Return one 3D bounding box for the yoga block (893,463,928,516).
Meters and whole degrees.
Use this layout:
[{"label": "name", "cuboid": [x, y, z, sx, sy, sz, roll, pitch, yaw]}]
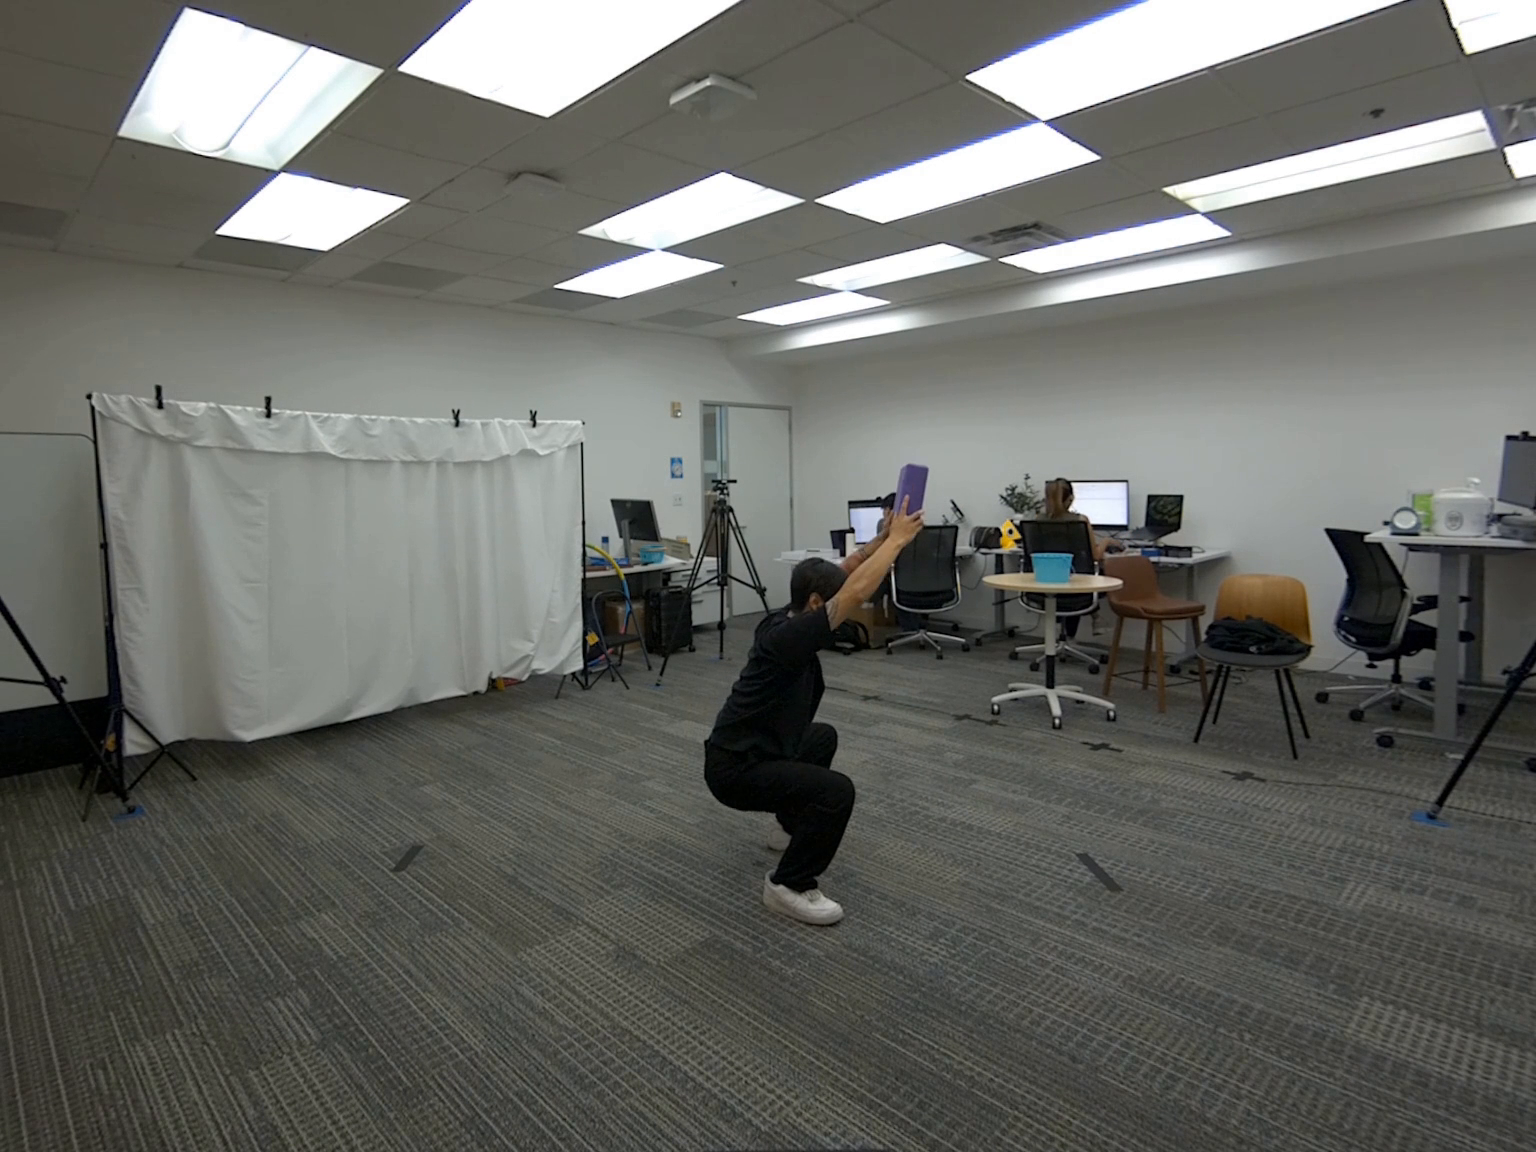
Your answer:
[{"label": "yoga block", "cuboid": [0.488, -0.270, 2.937, 0.077, 0.230, 0.148, 7, -2, 4]}]
